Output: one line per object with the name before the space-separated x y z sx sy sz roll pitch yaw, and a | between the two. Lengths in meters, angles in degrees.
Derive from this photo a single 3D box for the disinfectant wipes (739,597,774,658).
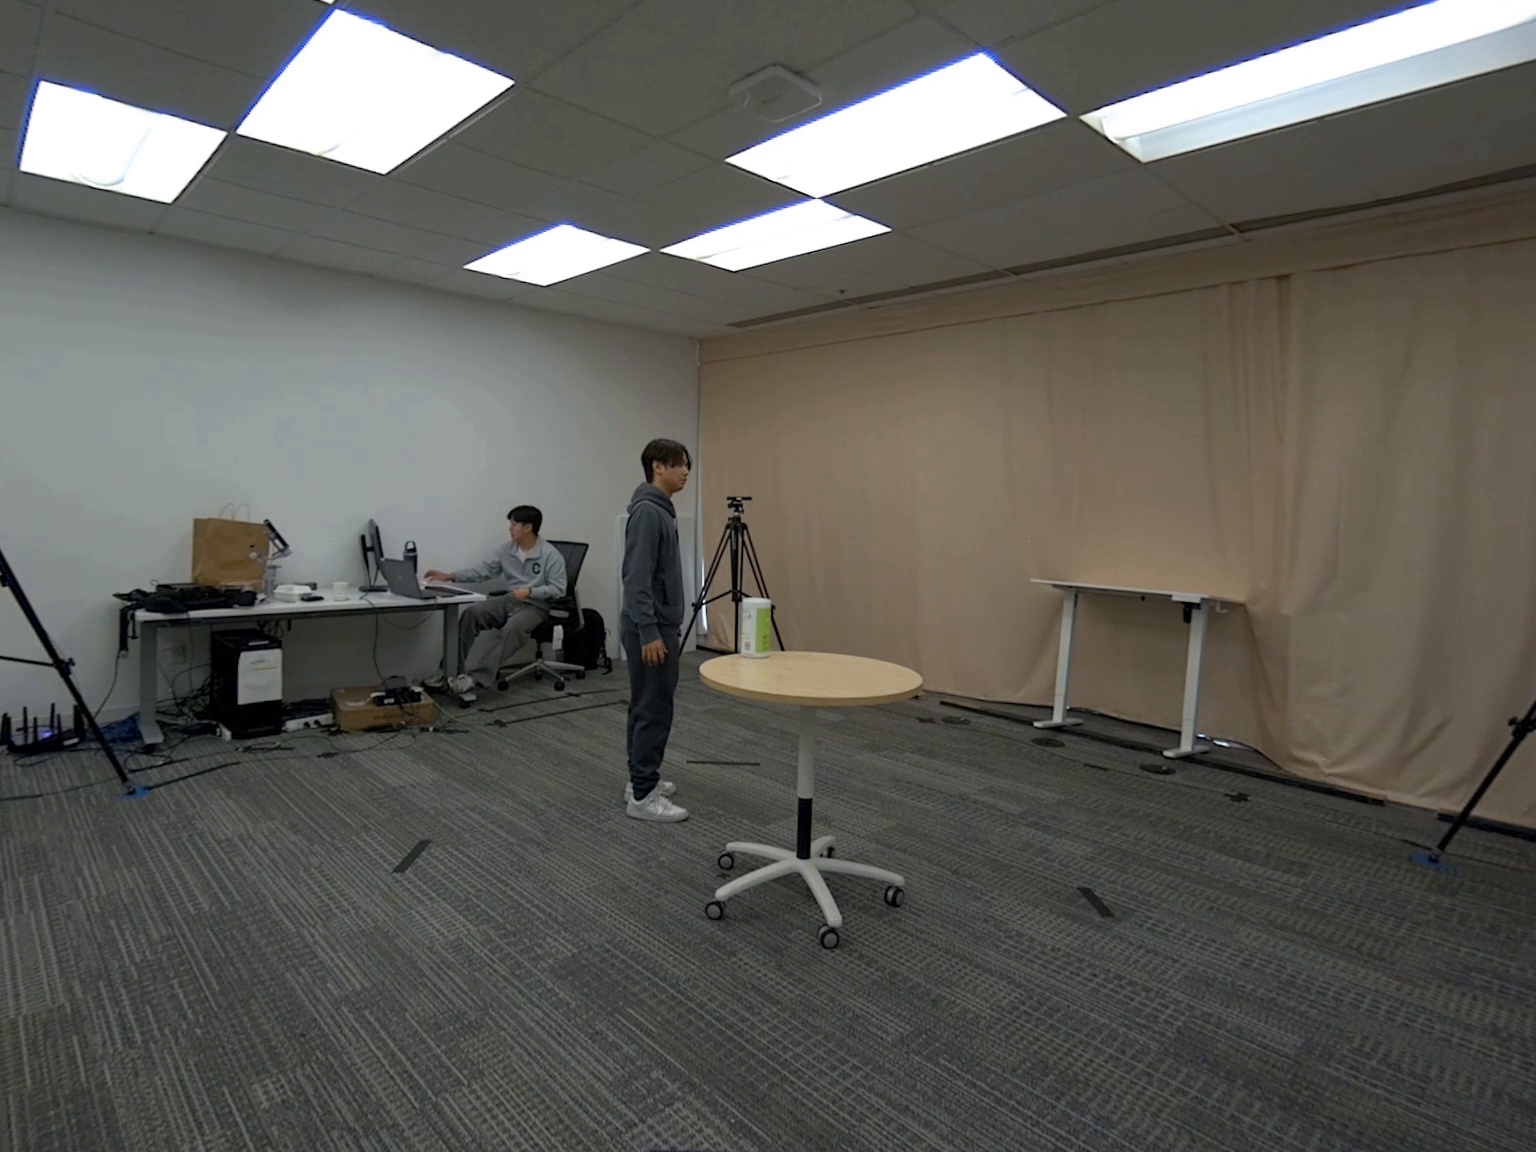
disinfectant wipes | -0.052 0.199 3.174 0.118 0.217 0.118 0 2 -1
